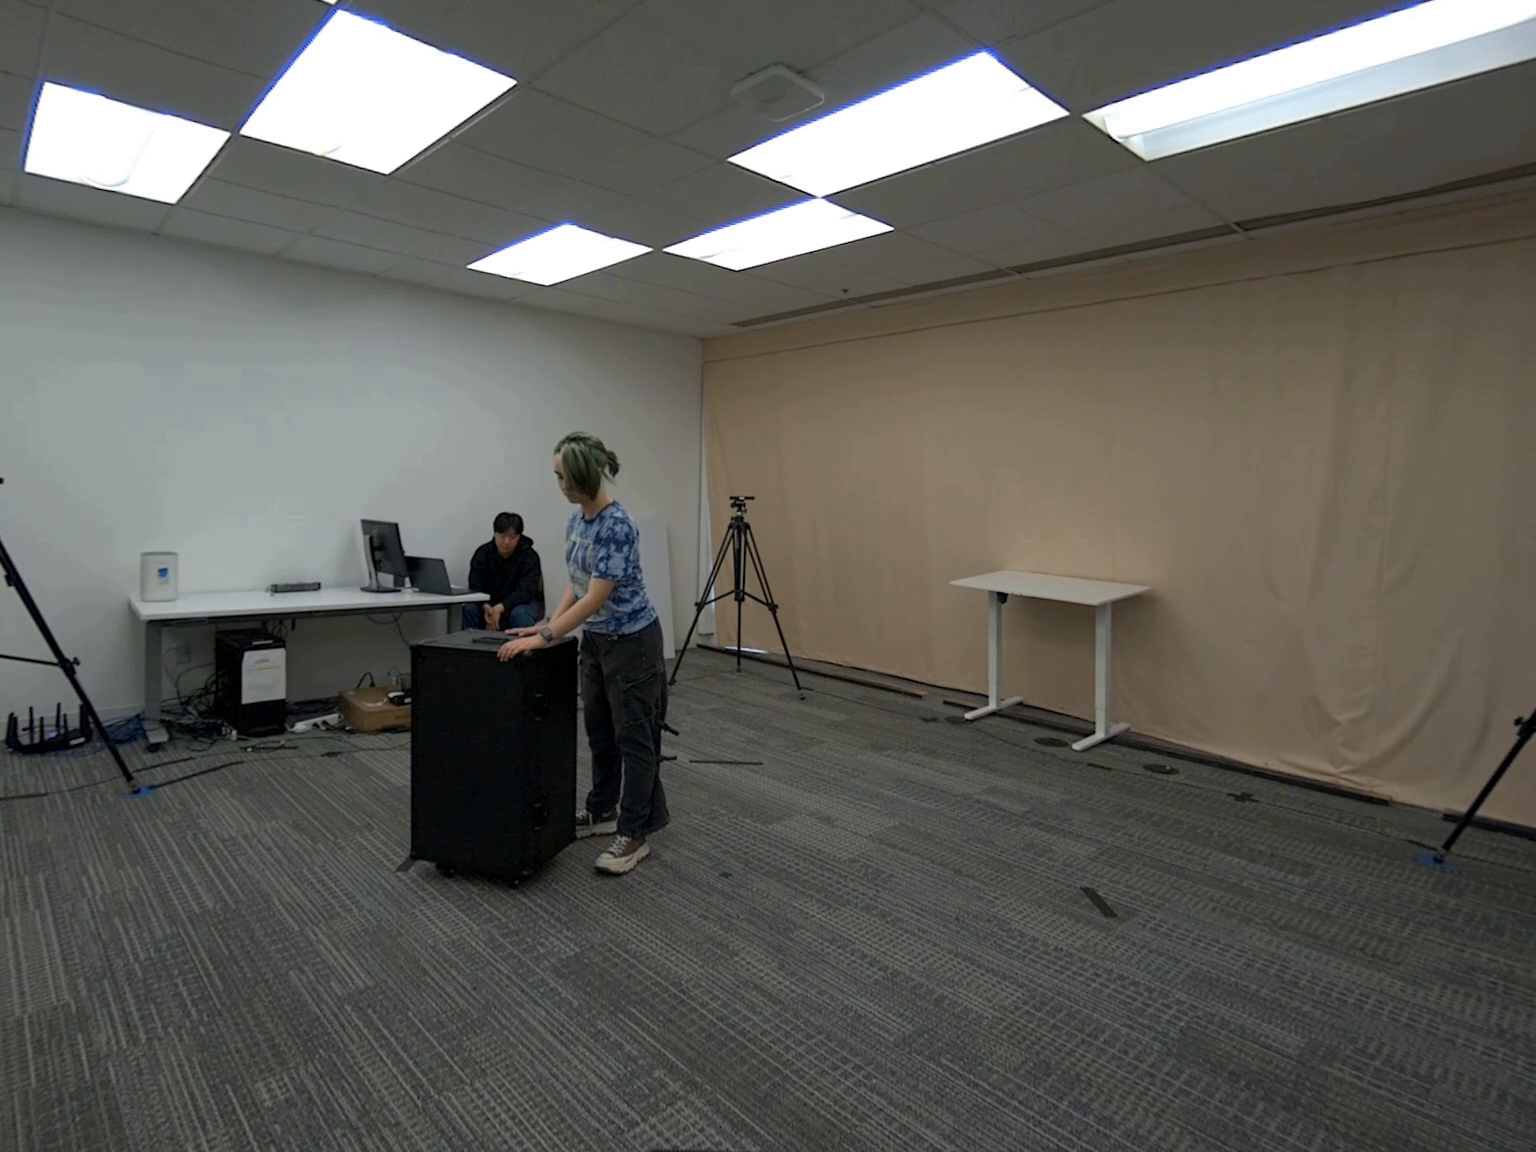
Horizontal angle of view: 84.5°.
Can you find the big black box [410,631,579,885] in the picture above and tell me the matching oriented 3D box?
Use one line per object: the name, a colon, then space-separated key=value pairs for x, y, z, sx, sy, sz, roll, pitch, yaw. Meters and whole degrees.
big black box: x=-1.011 y=0.660 z=3.107 sx=0.529 sy=0.859 sz=0.391 roll=2 pitch=3 yaw=19
